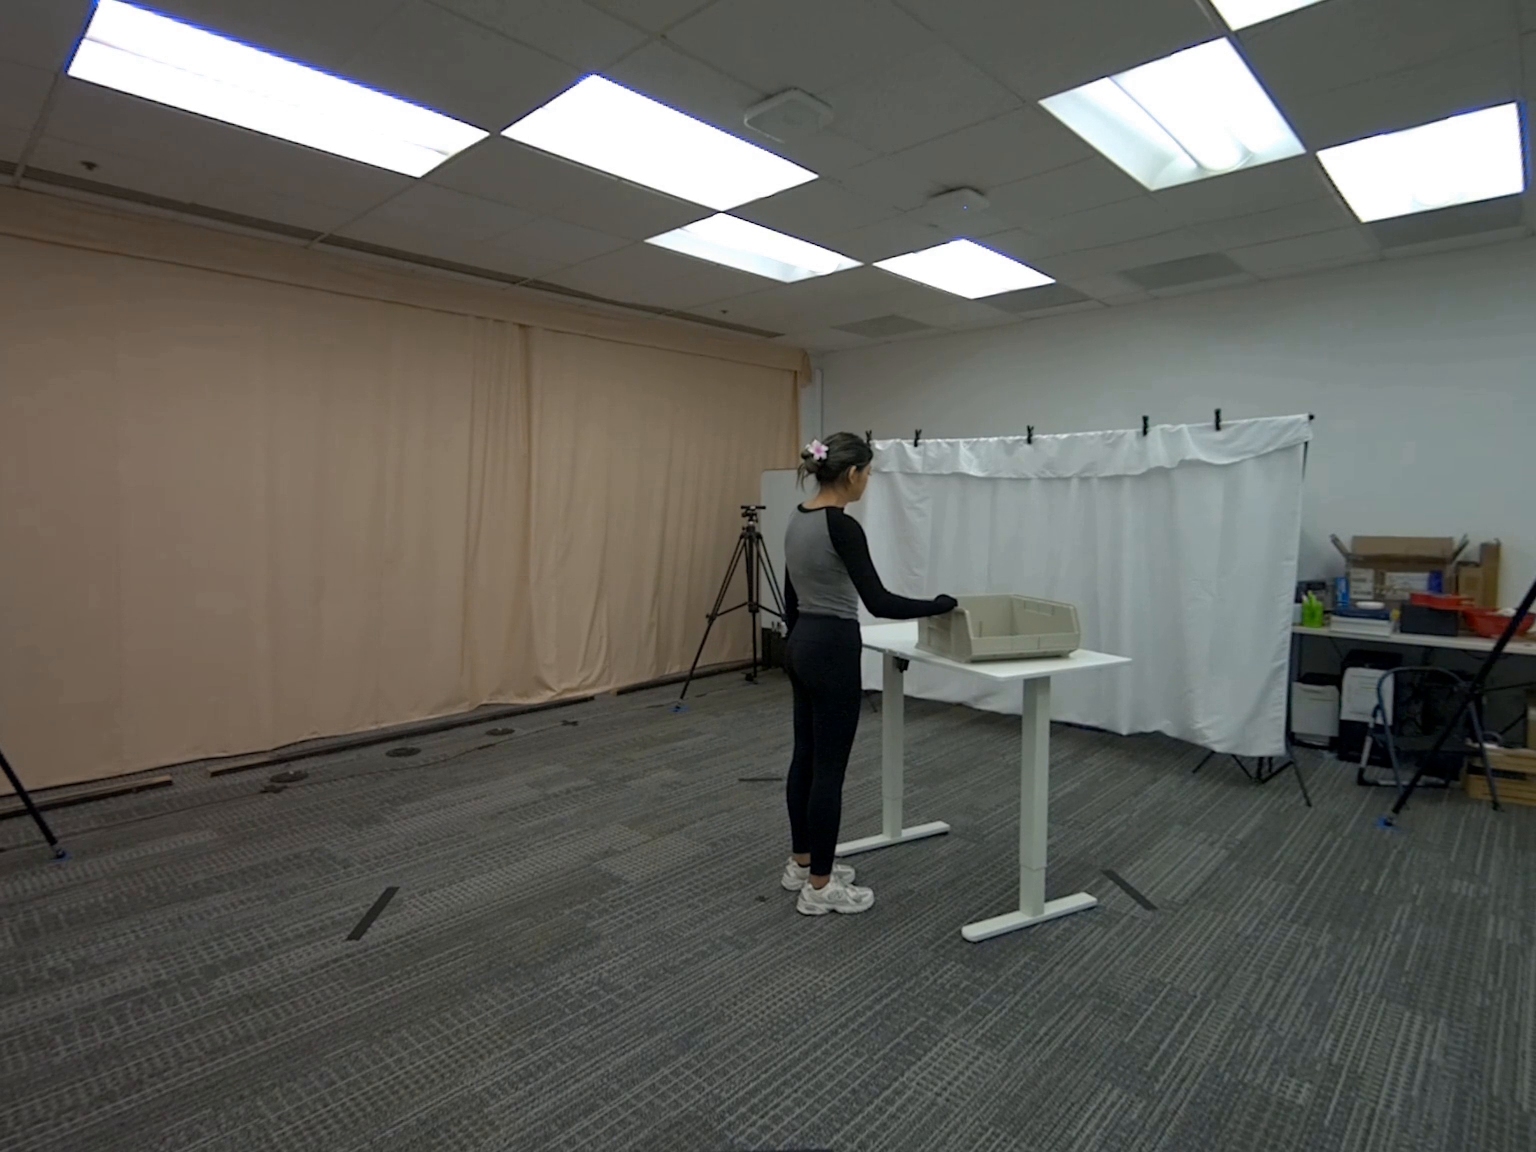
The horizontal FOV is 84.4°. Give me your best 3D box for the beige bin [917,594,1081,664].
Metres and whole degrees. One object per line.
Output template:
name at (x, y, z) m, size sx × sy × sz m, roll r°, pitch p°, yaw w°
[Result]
beige bin at (0.782, 0.183, 2.889) m, size 0.416 × 0.189 × 0.384 m, roll -2°, pitch 3°, yaw -15°
